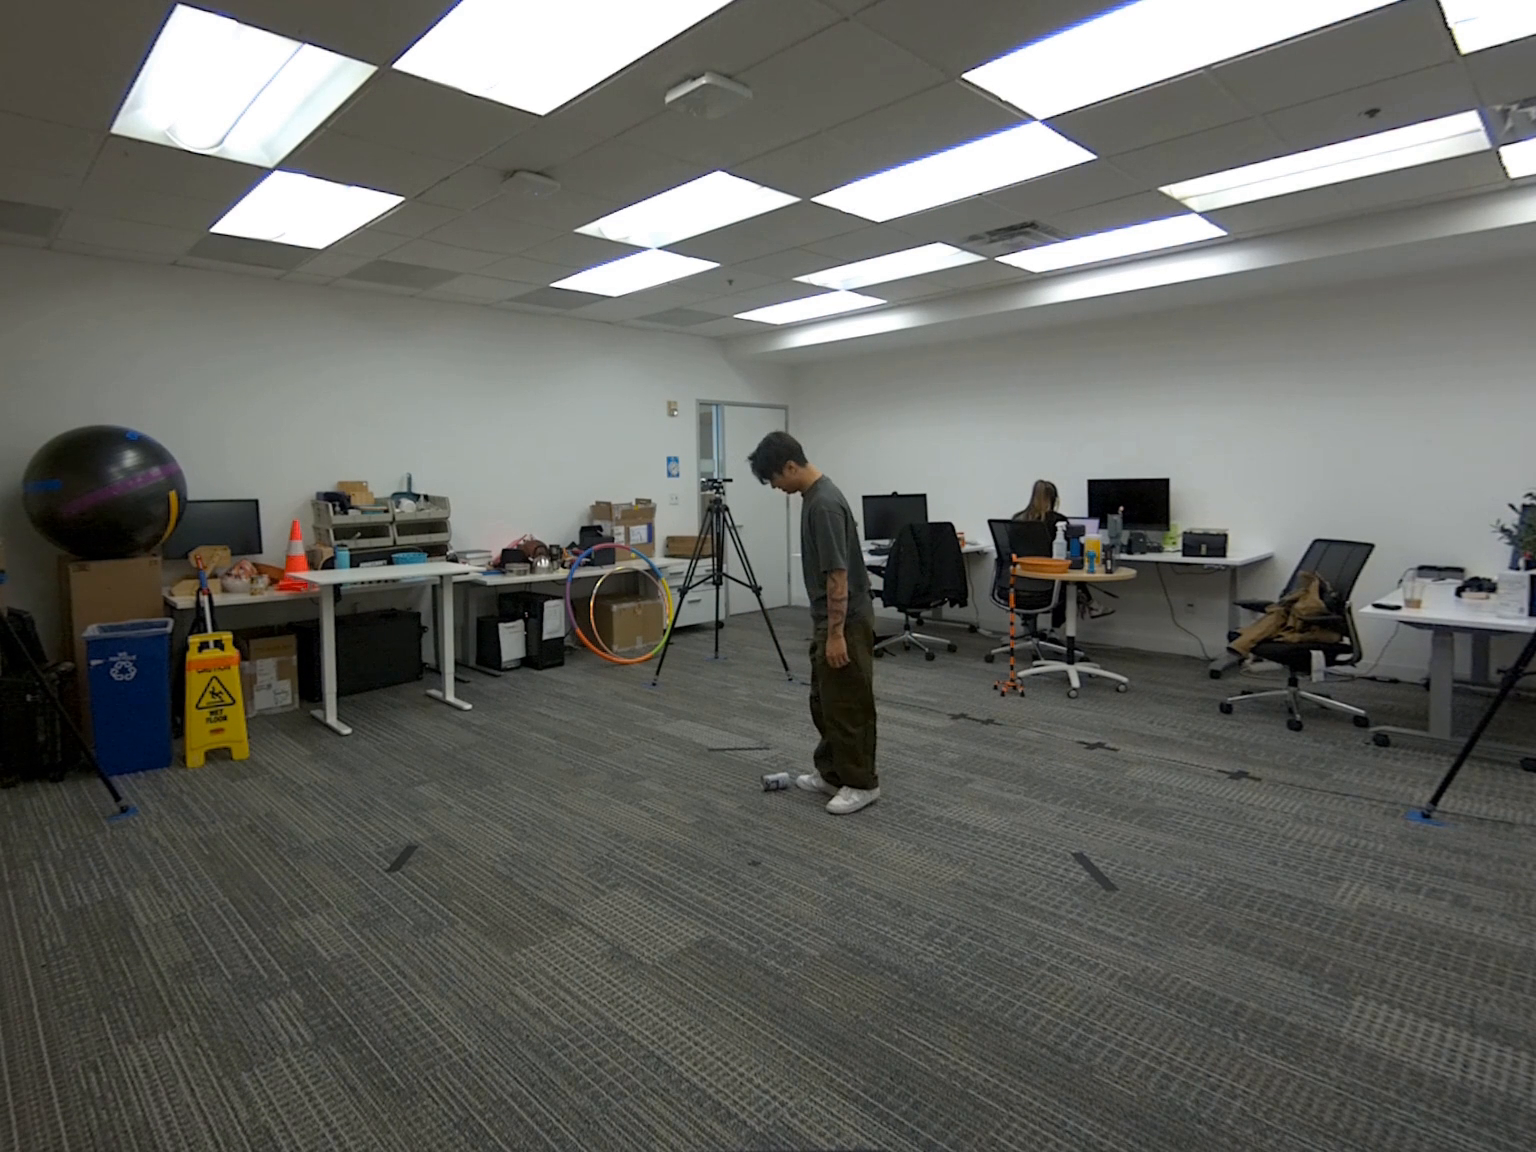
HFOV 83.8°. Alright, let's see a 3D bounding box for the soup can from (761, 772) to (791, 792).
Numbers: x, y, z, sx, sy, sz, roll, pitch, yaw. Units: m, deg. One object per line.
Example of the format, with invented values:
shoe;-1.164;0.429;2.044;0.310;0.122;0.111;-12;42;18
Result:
soup can;0.030;0.905;3.857;0.121;0.067;0.067;4;5;-2
